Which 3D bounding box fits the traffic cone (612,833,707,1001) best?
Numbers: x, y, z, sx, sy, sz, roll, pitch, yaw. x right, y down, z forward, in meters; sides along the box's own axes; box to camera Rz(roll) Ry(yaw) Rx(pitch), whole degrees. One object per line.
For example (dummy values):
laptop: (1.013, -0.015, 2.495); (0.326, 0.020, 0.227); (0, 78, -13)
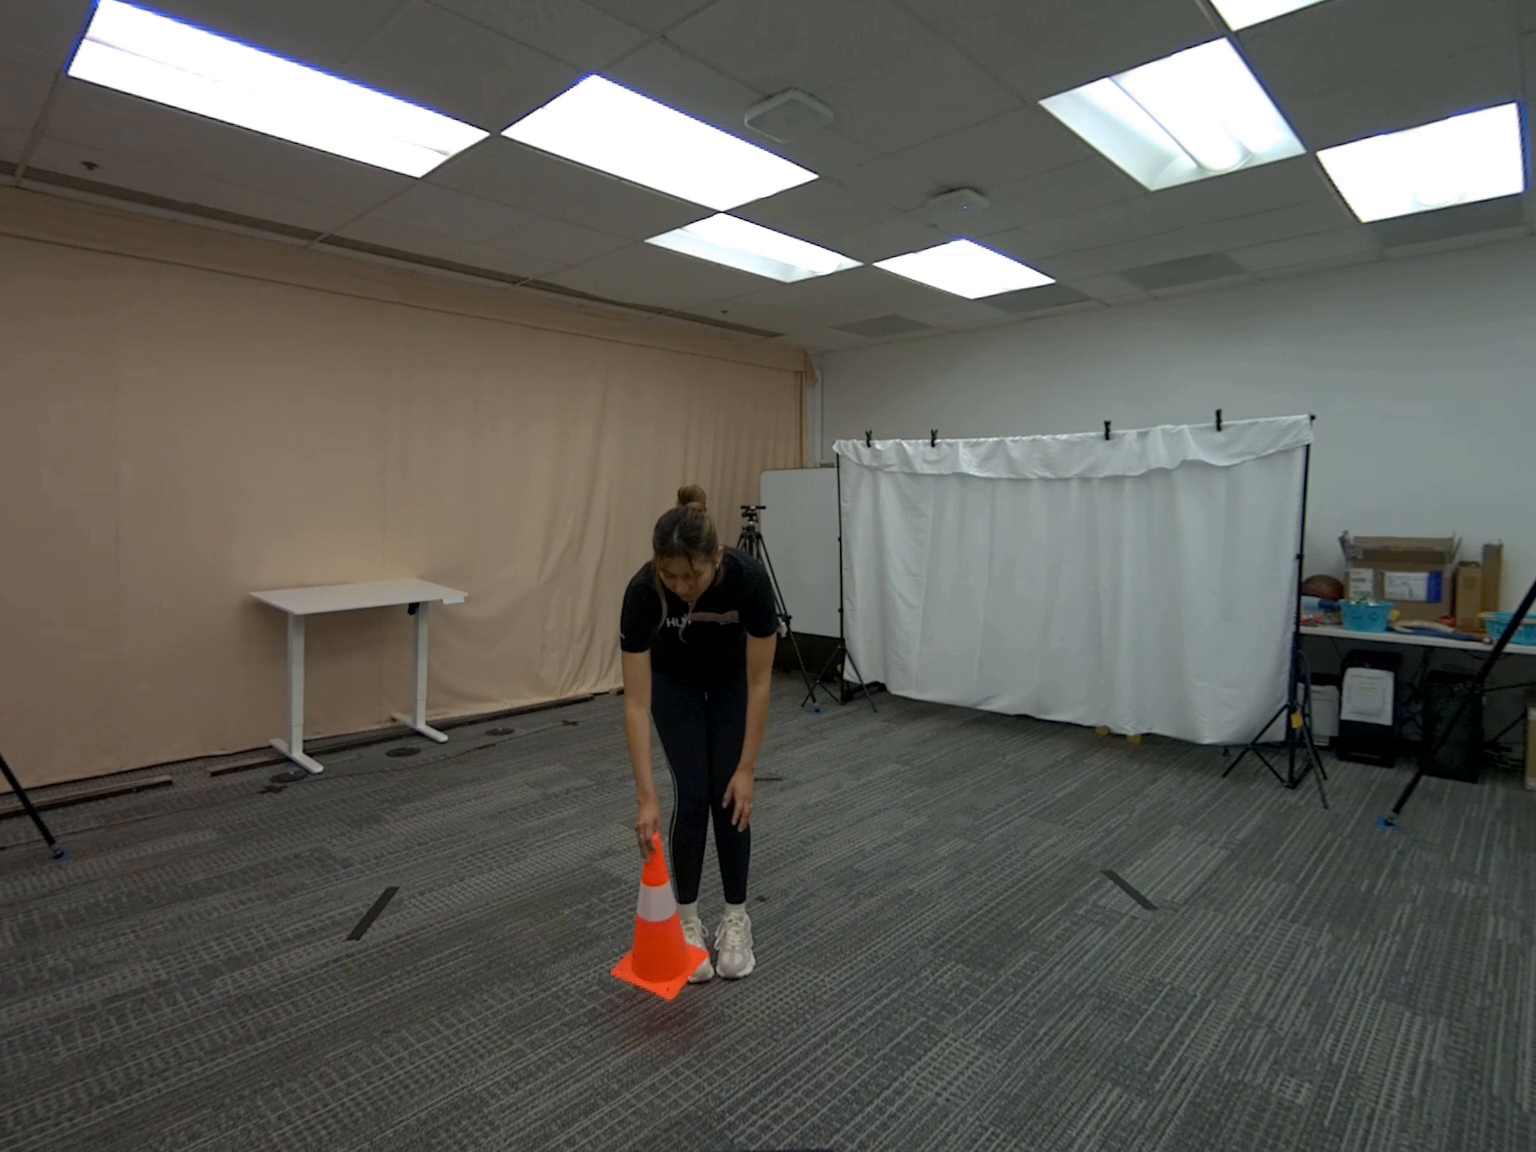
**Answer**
traffic cone: (-0.291, 0.853, 2.216); (0.211, 0.380, 0.199); (4, 14, 30)
